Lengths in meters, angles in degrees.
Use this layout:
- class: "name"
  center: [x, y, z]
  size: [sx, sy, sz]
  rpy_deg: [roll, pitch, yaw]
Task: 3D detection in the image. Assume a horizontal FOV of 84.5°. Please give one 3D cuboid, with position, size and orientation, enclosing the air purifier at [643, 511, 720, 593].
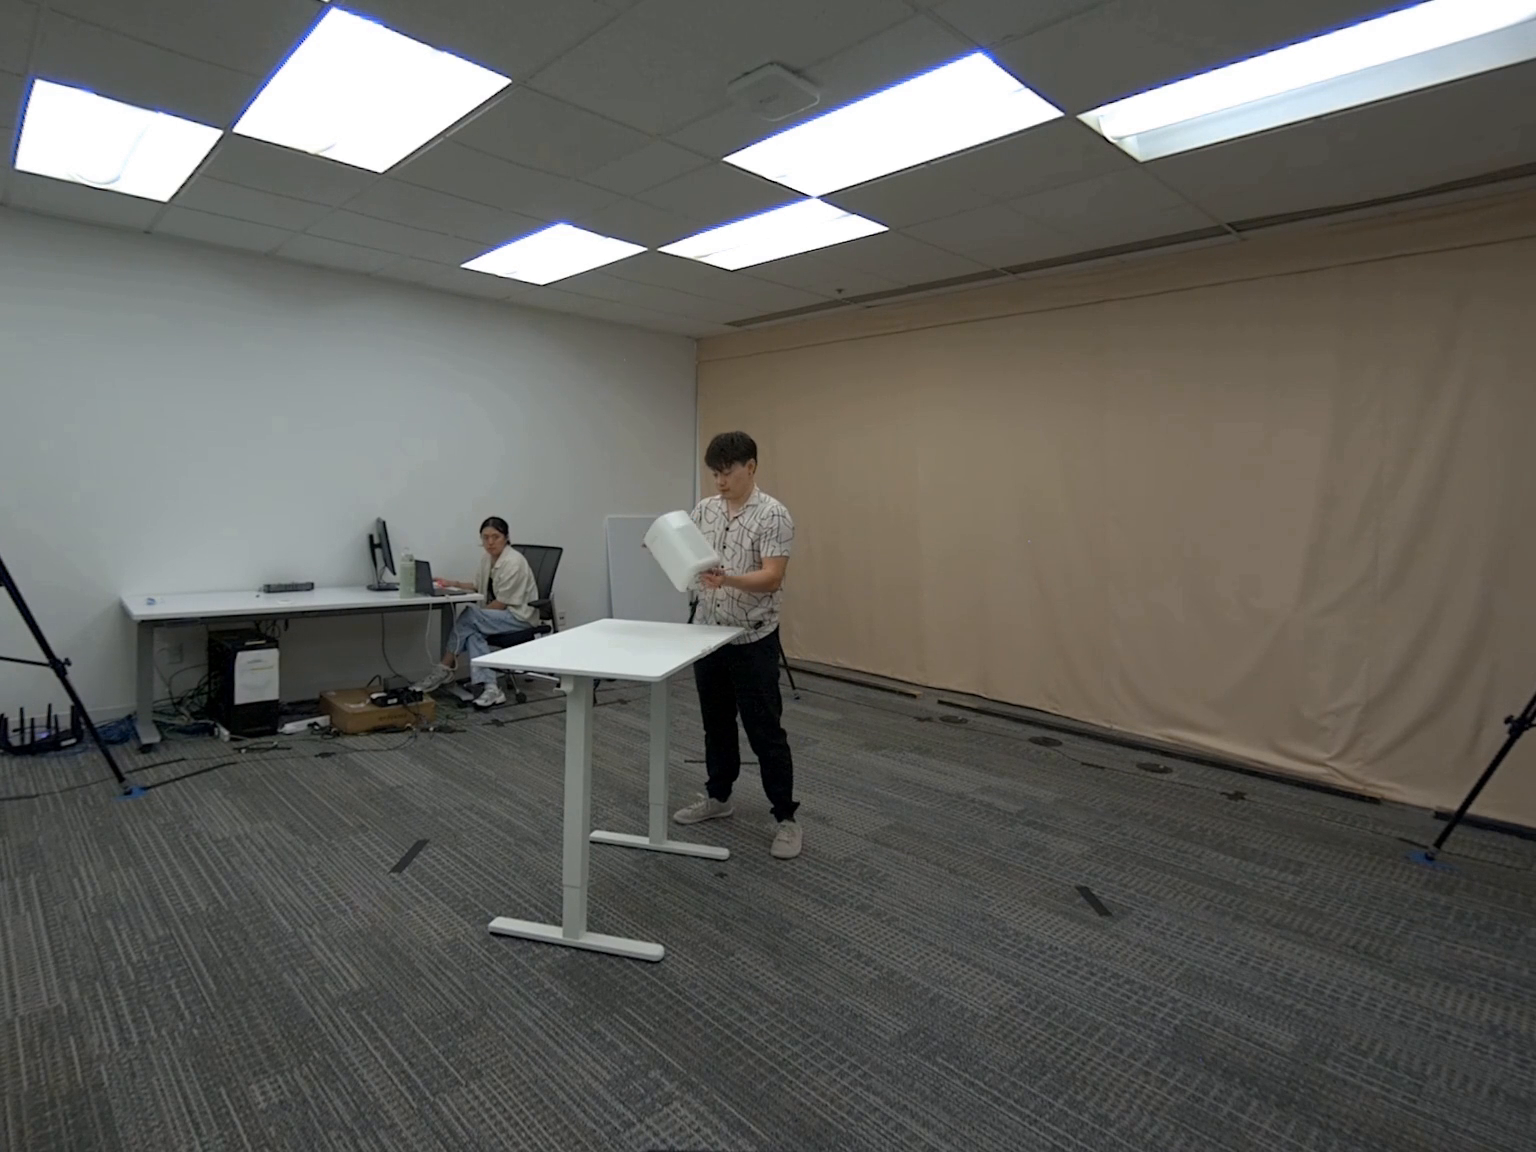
- class: "air purifier"
  center: [-0.331, -0.091, 3.184]
  size: [0.169, 0.271, 0.170]
  rpy_deg: [-17, -27, -44]
